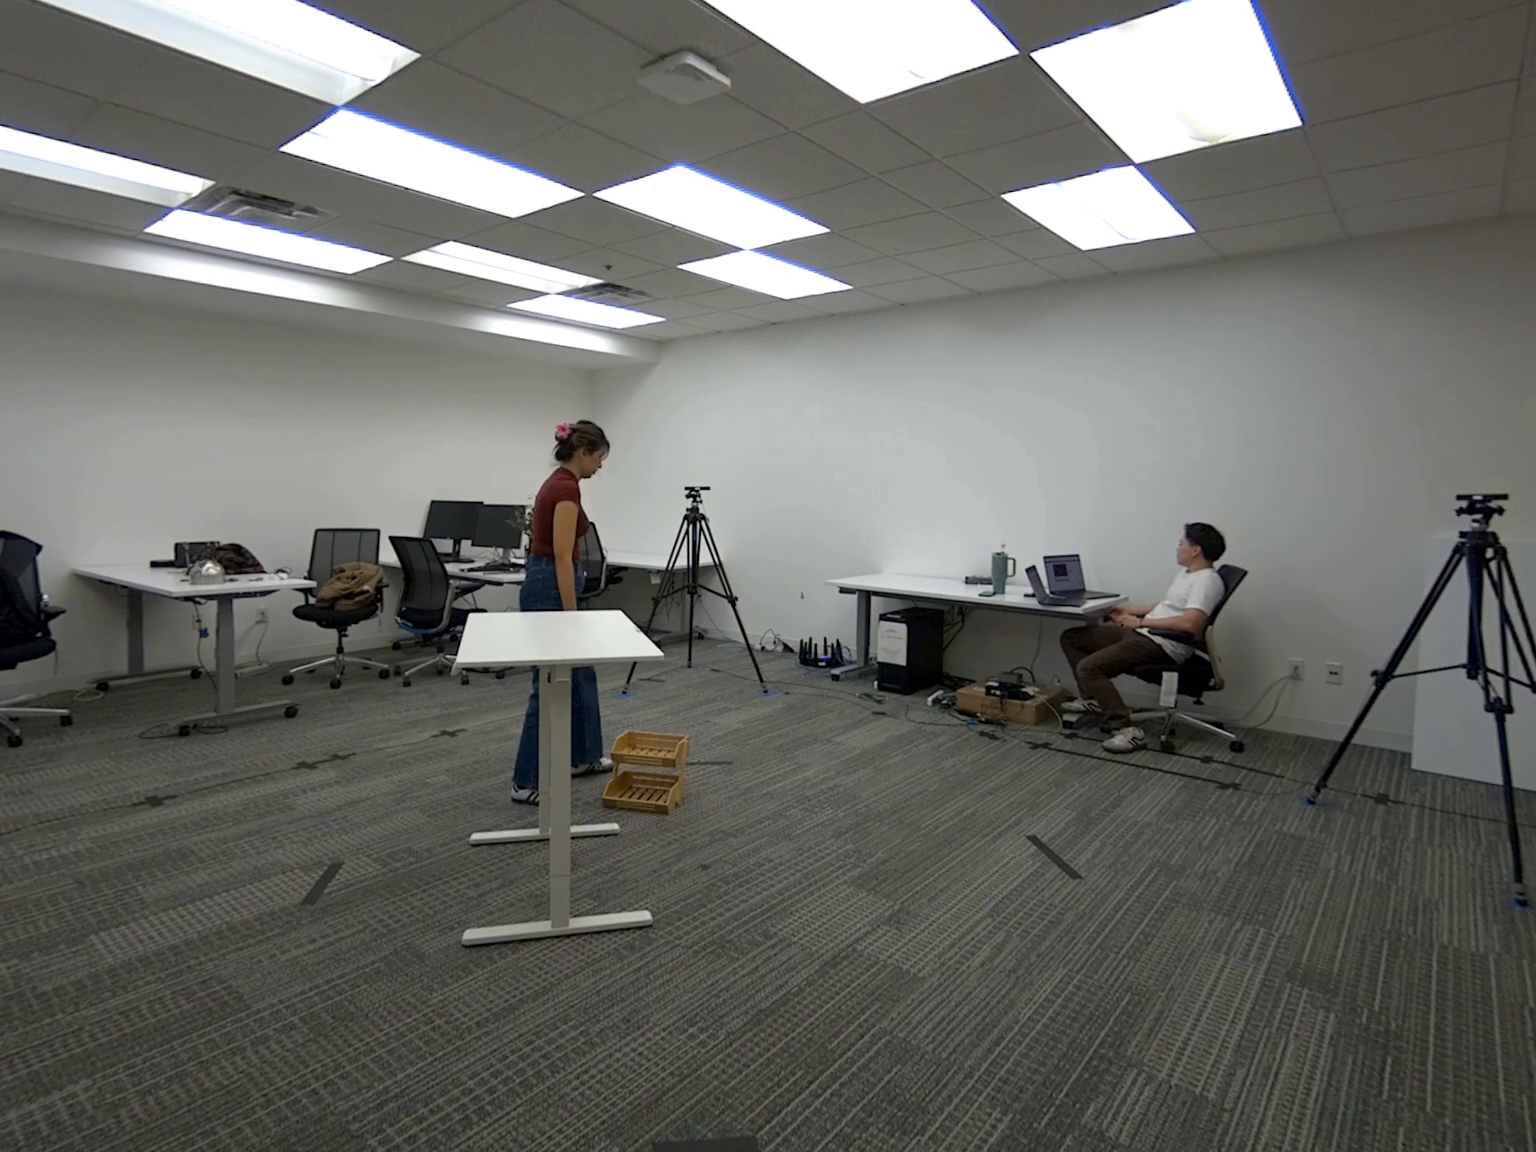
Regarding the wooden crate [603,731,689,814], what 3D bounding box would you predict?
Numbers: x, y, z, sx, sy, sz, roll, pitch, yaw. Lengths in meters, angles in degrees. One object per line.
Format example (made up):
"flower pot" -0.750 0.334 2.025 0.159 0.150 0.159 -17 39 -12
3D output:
"wooden crate" -0.552 0.863 3.781 0.329 0.272 0.298 1 4 13
